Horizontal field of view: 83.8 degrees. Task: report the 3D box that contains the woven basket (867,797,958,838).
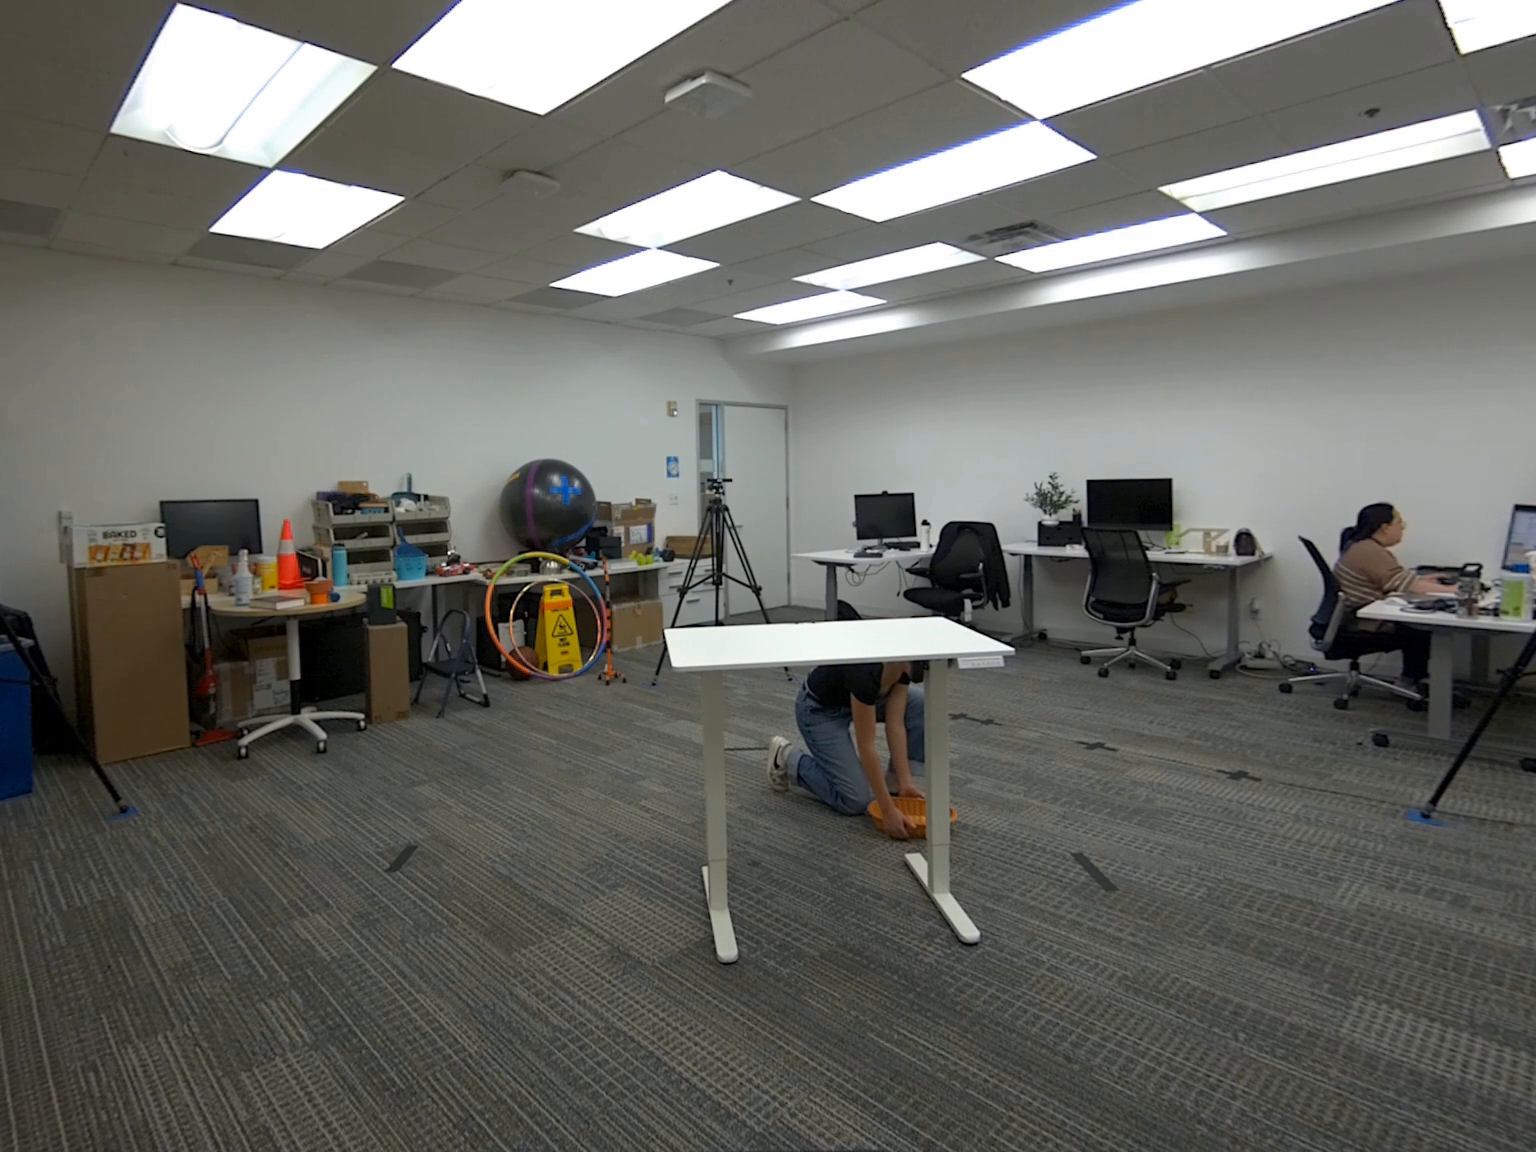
[{"bbox_3d":[0.573,0.964,3.396,0.357,0.073,0.249,1,9,18],"label":"woven basket"}]
